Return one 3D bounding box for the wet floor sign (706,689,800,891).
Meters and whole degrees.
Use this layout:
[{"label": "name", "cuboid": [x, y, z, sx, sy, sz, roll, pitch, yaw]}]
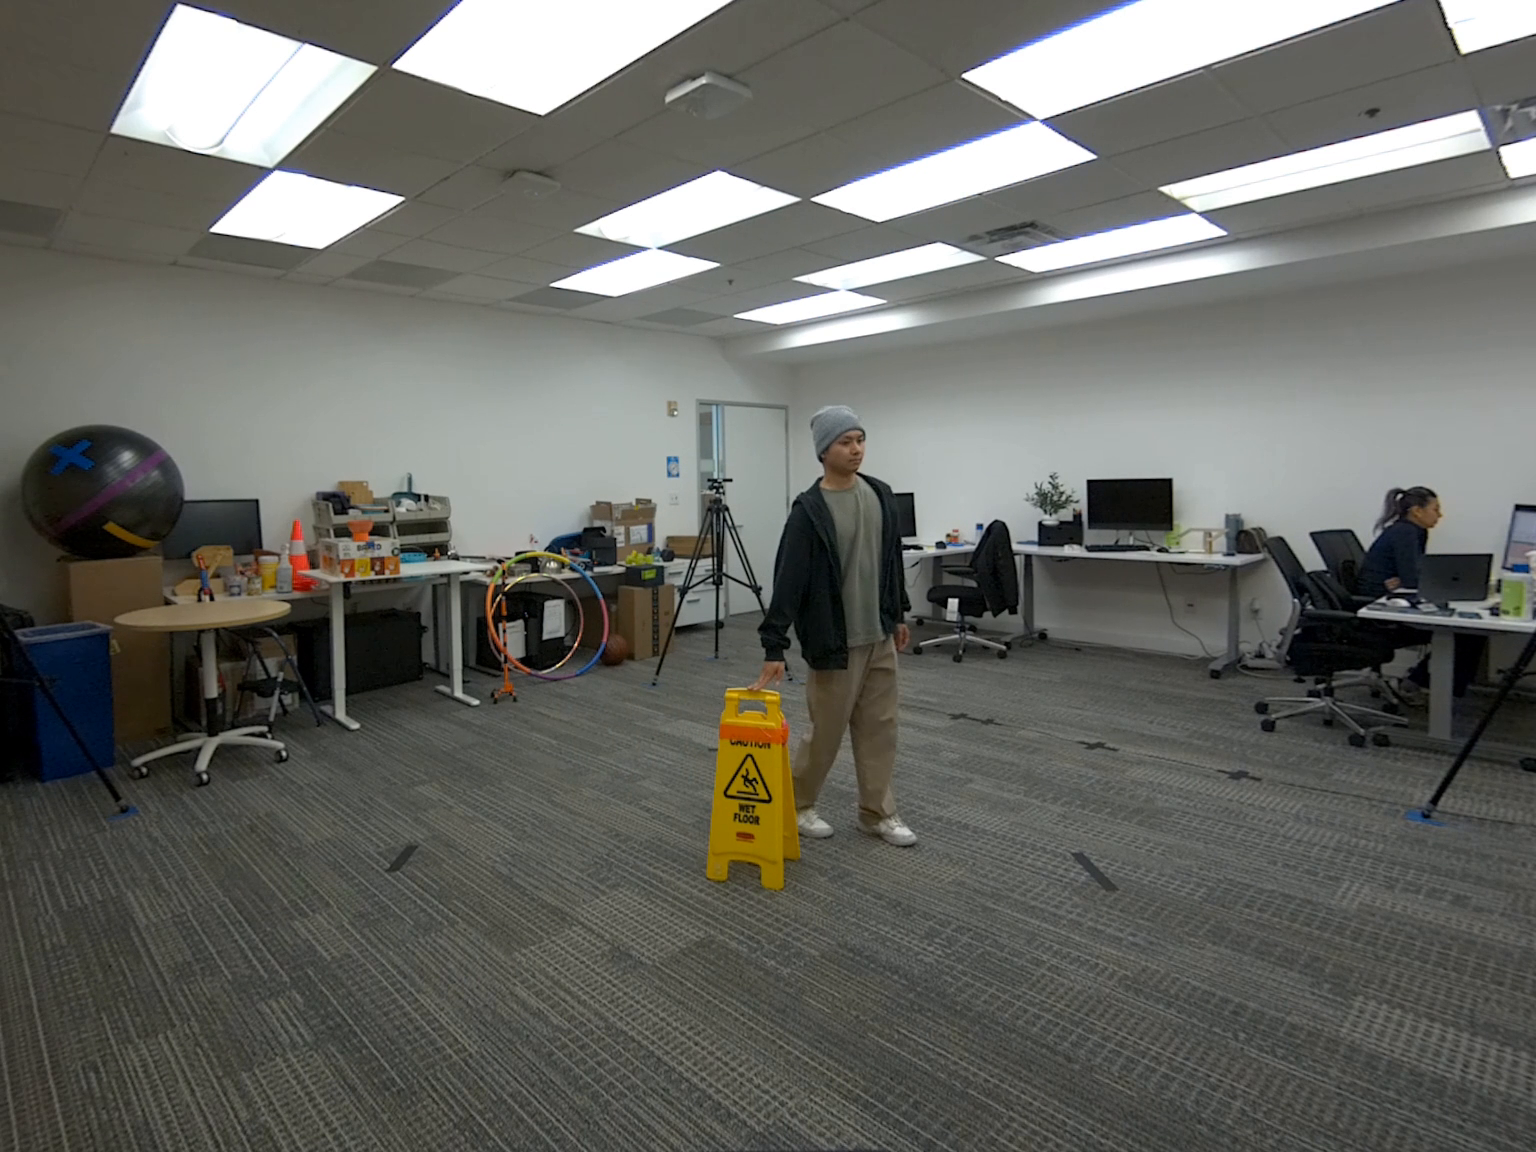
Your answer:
[{"label": "wet floor sign", "cuboid": [-0.053, 0.728, 3.036, 0.287, 0.643, 0.286, -1, 5, 17]}]
